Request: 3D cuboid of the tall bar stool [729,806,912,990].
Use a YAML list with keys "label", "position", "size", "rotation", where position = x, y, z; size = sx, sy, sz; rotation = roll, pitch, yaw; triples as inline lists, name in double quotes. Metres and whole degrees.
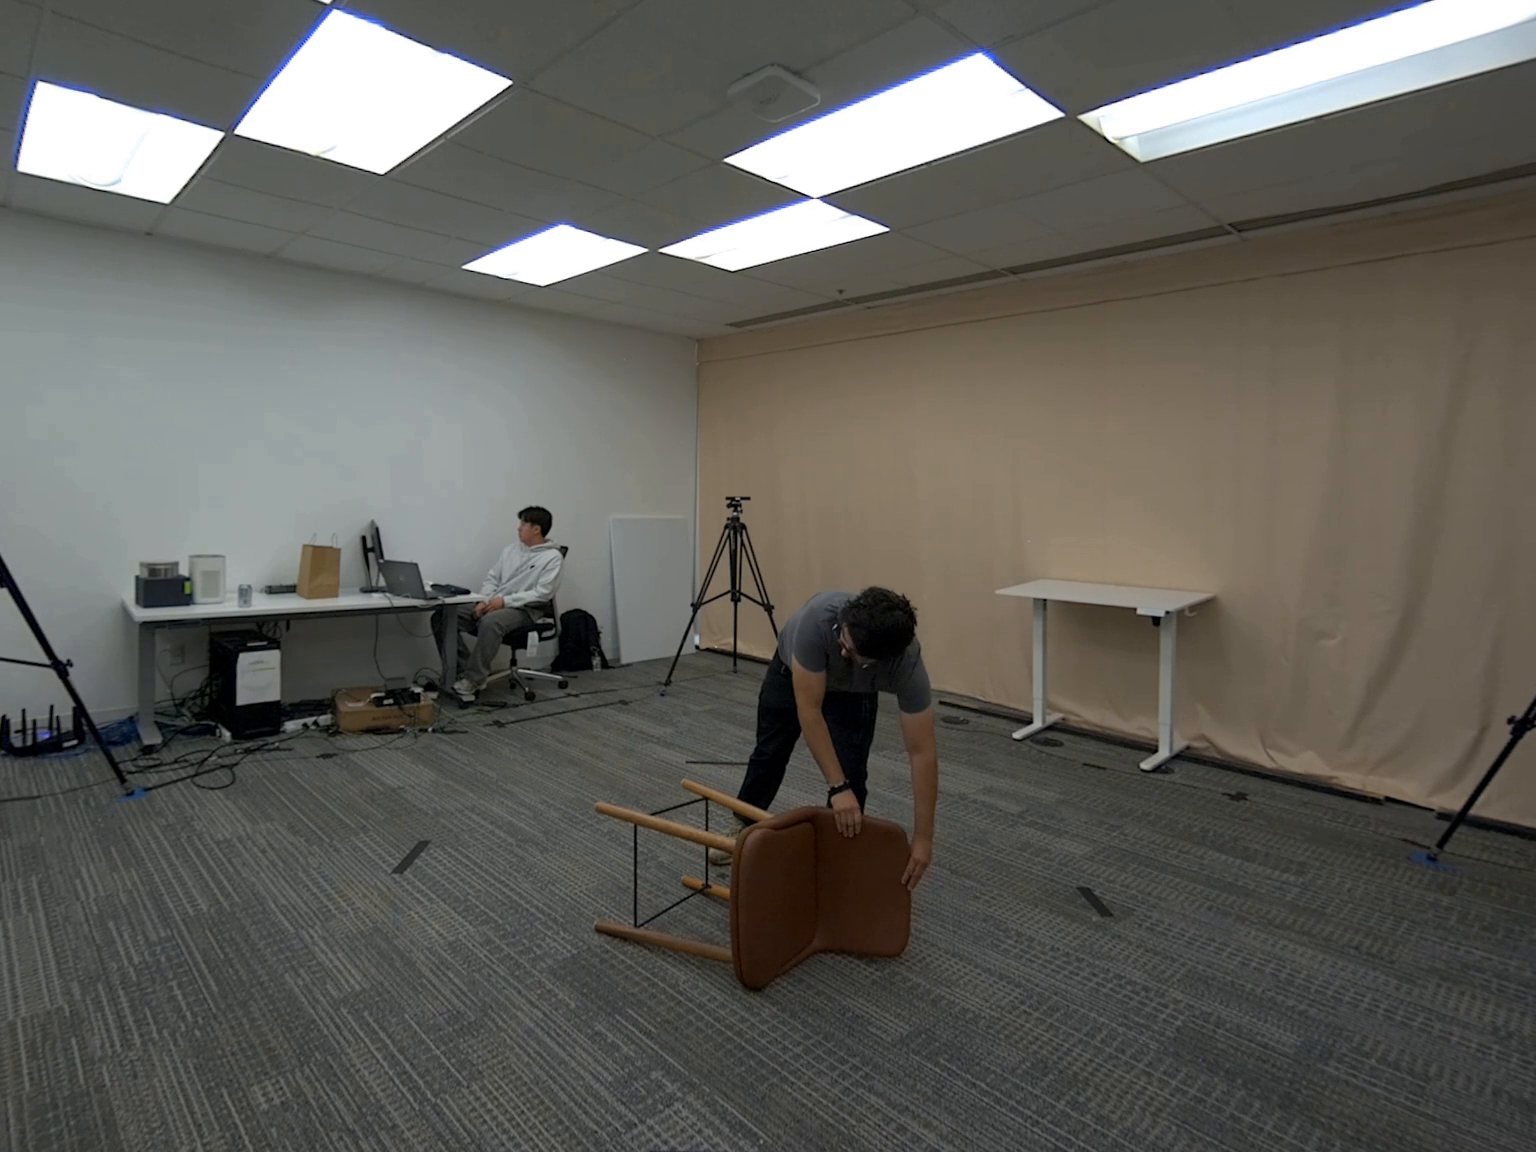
- label: "tall bar stool"
  position: [-0.068, 0.944, 2.600]
  size: [0.910, 0.456, 0.457]
  rotation: [2, 1, 35]
